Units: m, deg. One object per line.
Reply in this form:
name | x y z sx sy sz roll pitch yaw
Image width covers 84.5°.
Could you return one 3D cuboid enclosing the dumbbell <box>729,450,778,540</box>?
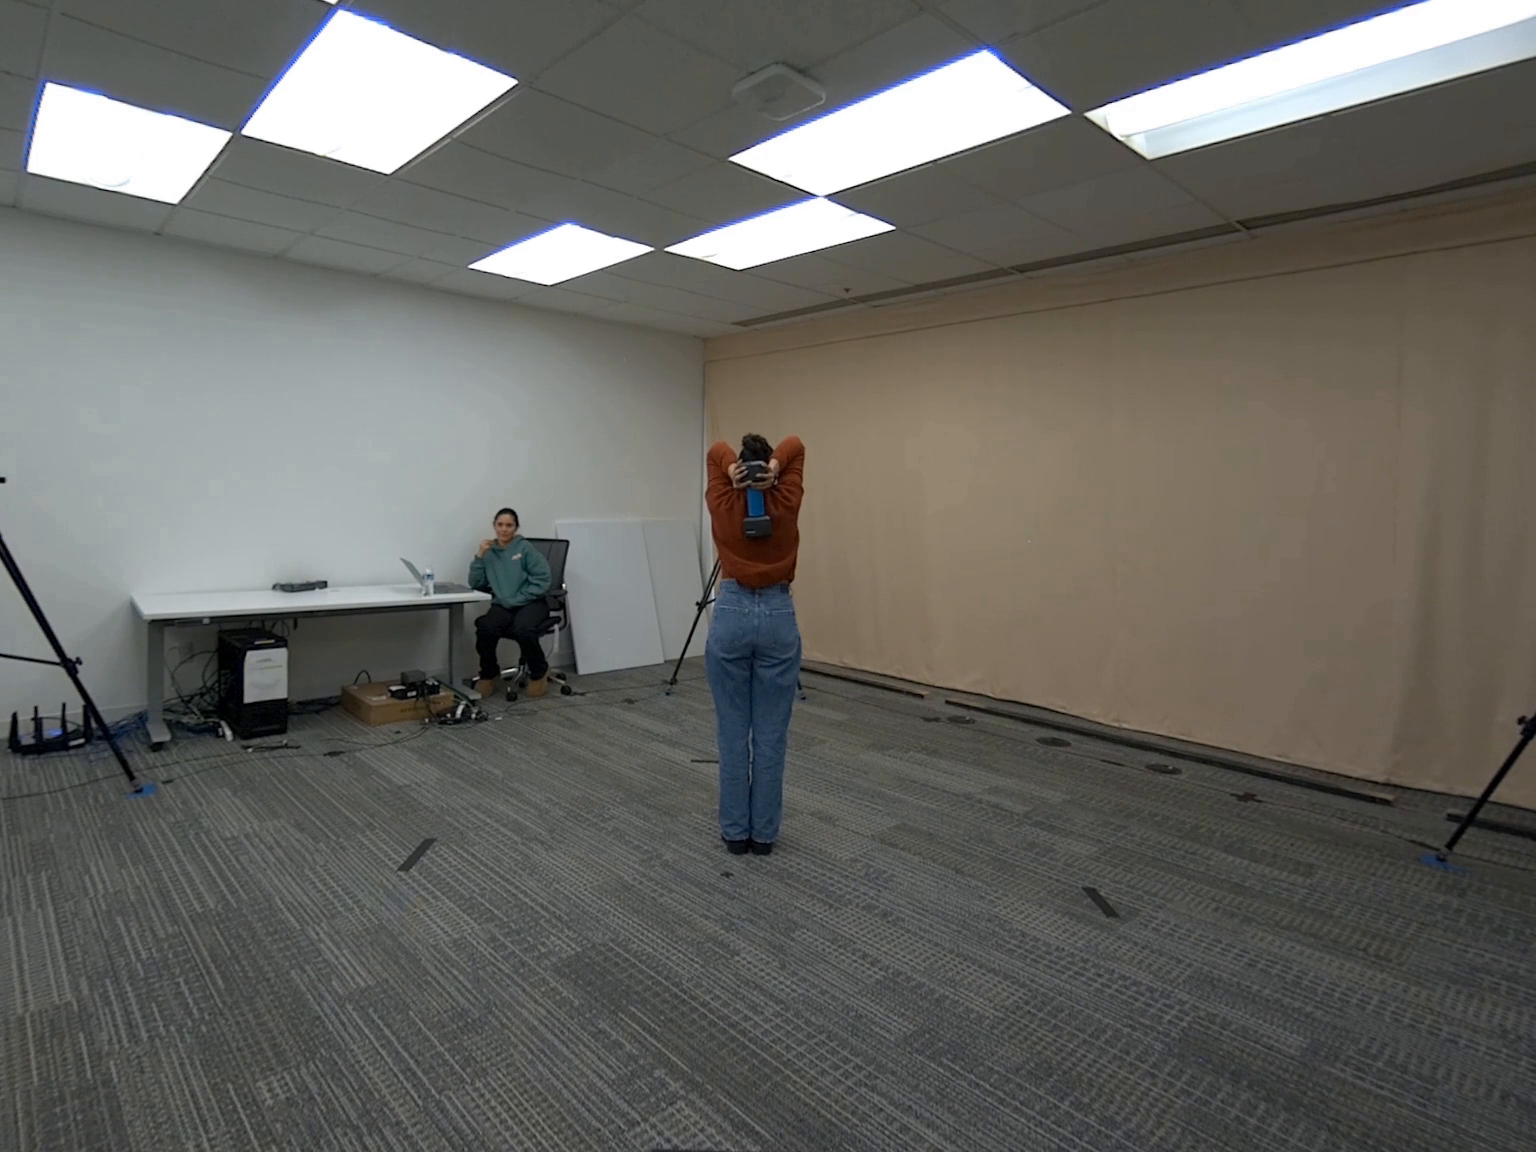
dumbbell | -0.050 -0.296 3.263 0.109 0.293 0.122 -4 0 4
